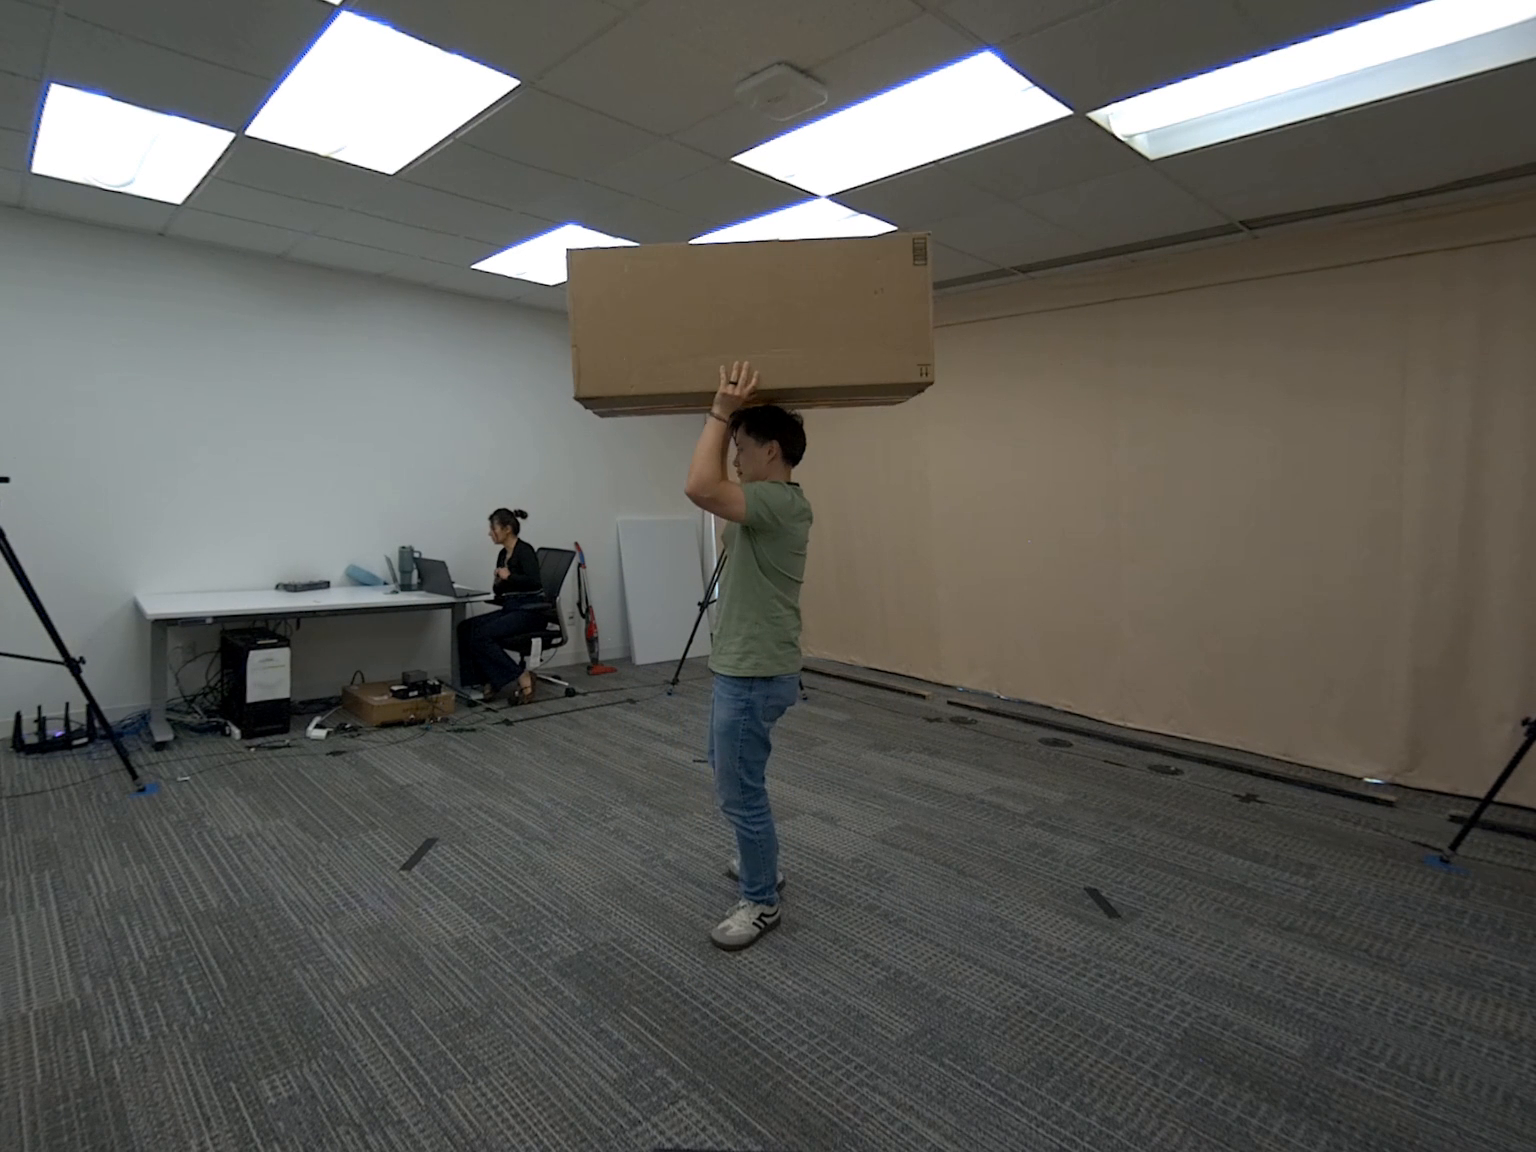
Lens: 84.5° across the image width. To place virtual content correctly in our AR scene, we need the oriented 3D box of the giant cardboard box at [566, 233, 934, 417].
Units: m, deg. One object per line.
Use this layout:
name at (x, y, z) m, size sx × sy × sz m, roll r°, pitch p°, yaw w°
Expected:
giant cardboard box at (-0.067, -0.752, 2.644) m, size 1.025 × 0.425 × 0.579 m, roll -3°, pitch 4°, yaw -1°
